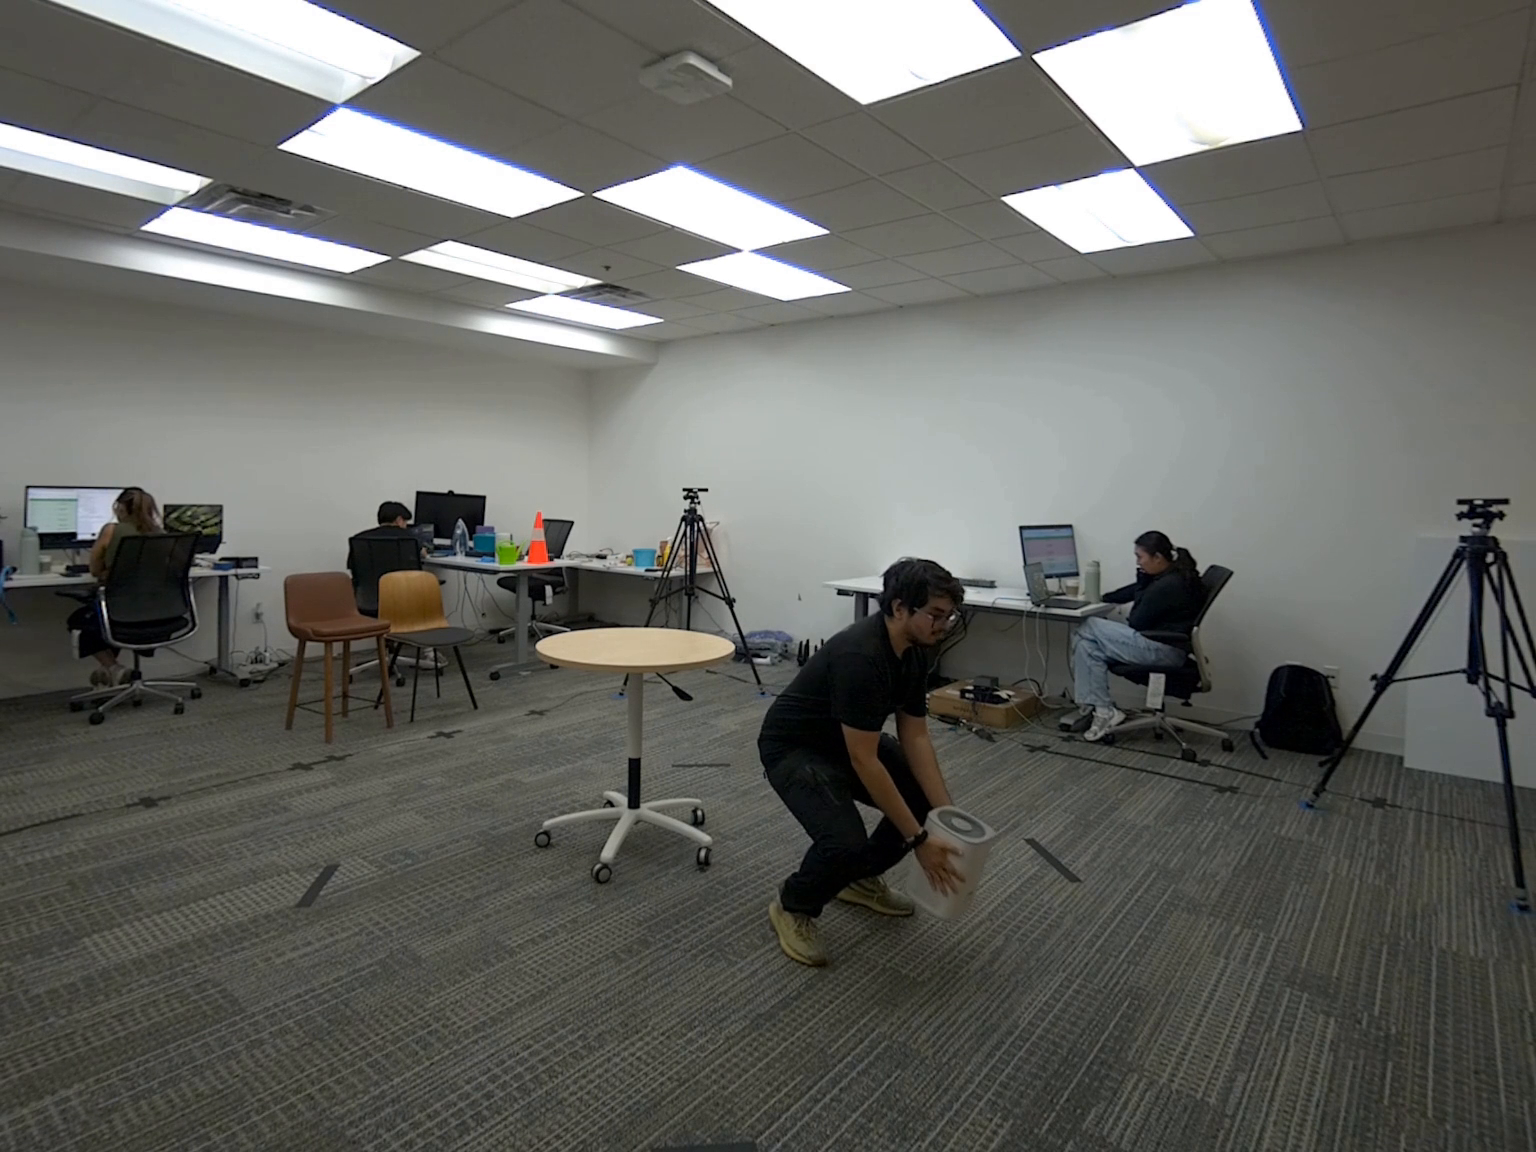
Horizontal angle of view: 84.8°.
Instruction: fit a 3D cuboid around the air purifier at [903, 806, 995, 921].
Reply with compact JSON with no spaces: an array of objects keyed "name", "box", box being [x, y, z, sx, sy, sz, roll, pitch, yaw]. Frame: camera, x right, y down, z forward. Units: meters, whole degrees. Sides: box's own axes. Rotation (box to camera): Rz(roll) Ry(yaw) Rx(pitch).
[{"name":"air purifier","box":[0.520,0.829,2.458,0.178,0.263,0.165,23,14,38]}]
